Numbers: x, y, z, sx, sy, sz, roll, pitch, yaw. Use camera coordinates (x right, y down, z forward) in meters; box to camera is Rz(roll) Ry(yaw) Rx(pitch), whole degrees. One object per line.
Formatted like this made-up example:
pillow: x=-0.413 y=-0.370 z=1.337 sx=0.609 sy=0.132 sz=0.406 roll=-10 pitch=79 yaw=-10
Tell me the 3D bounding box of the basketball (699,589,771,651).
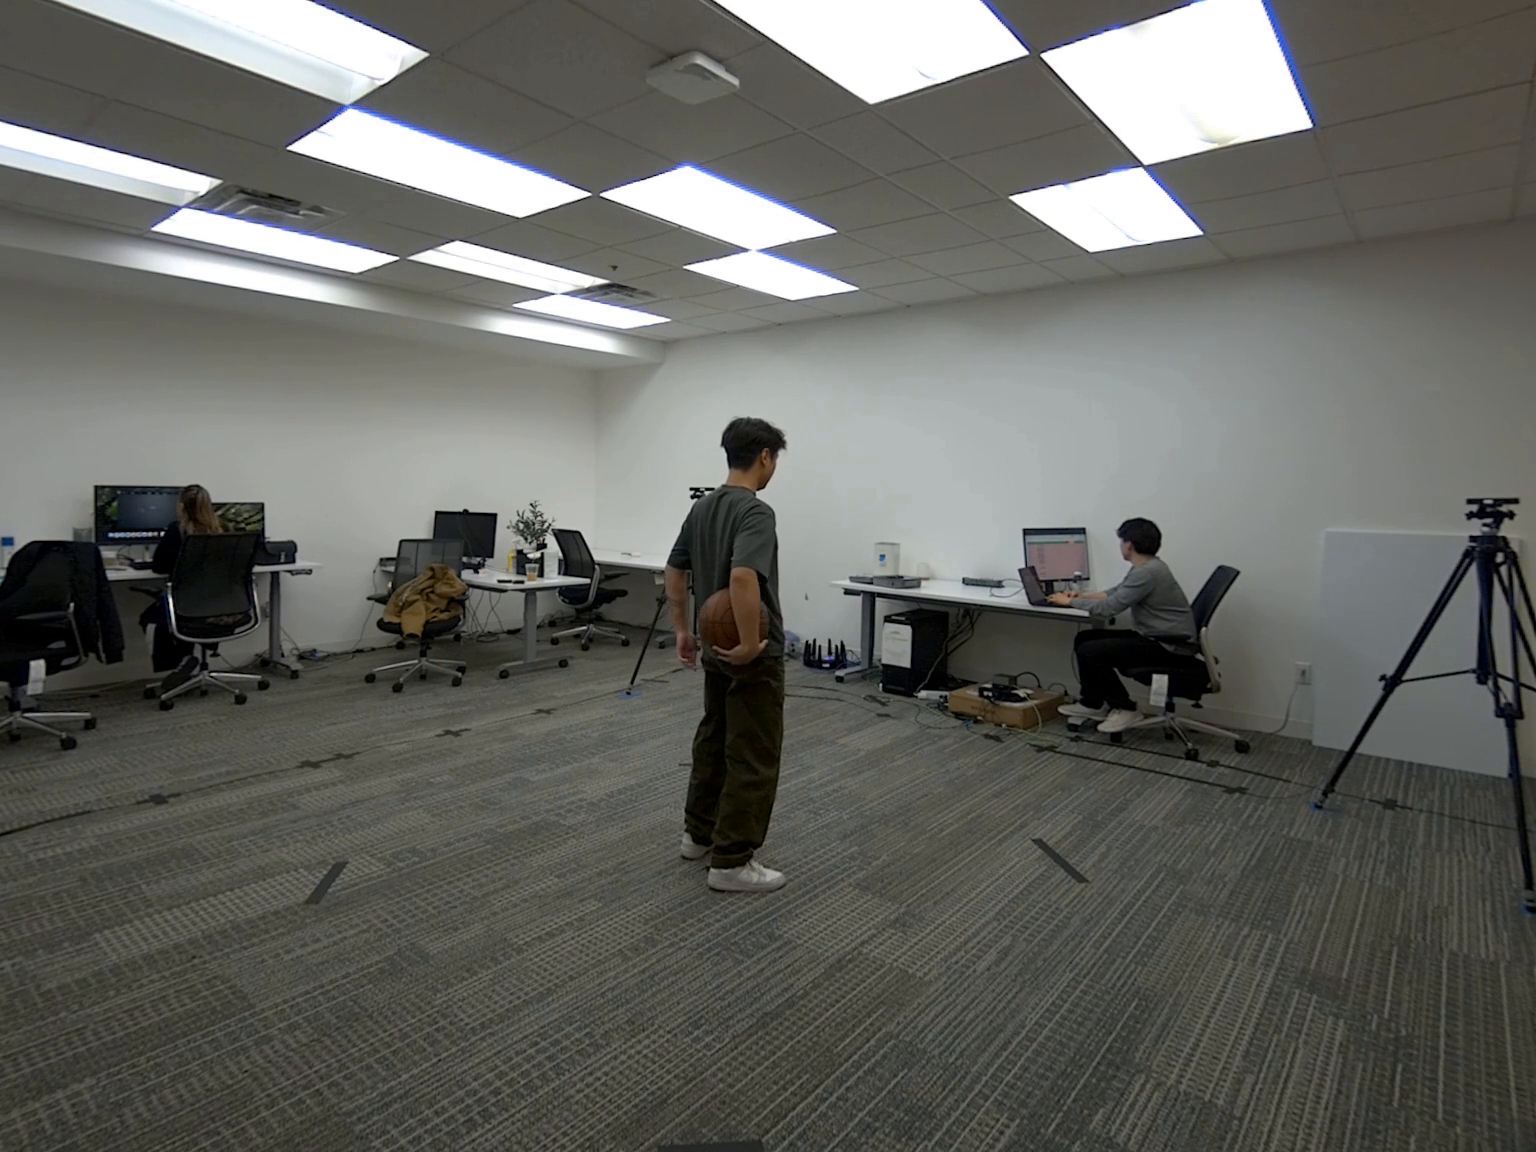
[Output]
basketball: x=-0.124 y=0.153 z=2.887 sx=0.235 sy=0.235 sz=0.237 roll=1 pitch=4 yaw=-2
